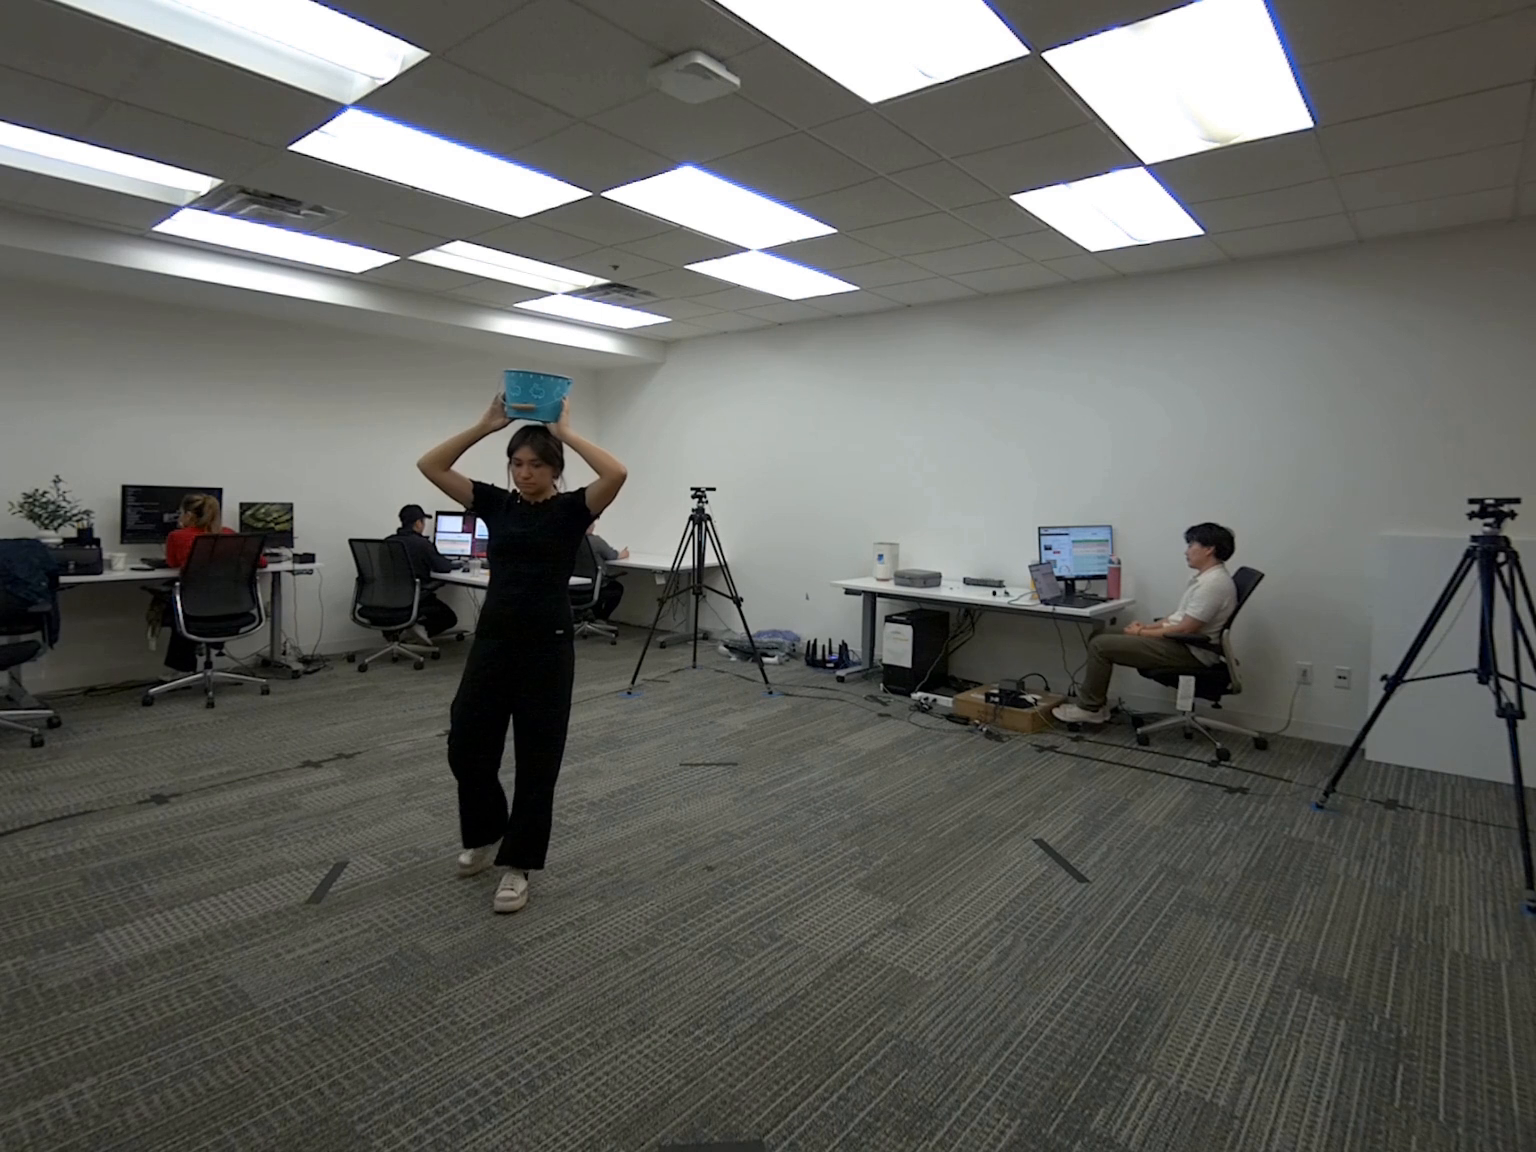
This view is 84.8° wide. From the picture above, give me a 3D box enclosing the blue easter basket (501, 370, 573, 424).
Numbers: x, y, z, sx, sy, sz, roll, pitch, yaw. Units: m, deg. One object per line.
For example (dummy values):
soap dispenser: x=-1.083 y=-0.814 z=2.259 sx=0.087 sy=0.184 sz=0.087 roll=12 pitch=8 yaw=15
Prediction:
blue easter basket: x=-0.808 y=-0.599 z=2.837 sx=0.243 sy=0.155 sz=0.245 roll=6 pitch=7 yaw=-3
